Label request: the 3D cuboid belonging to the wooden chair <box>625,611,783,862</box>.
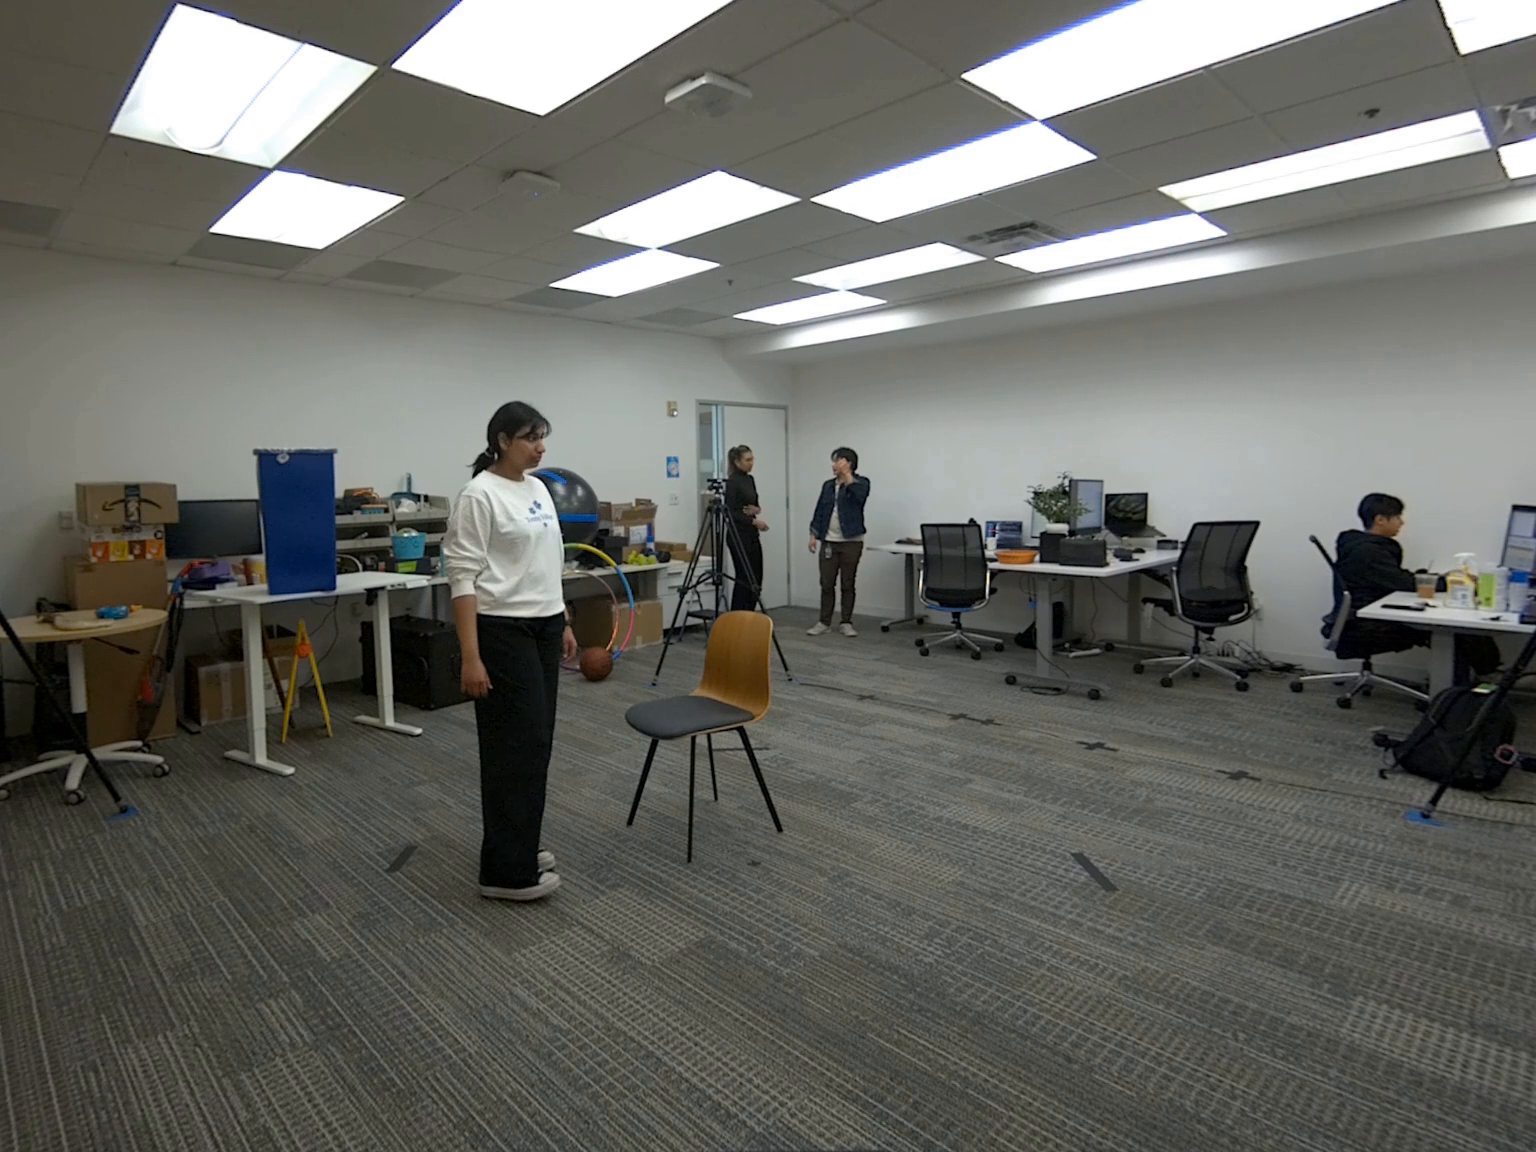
[{"bbox_3d":[-0.266,0.590,3.396,0.508,0.876,0.492,1,2,-39],"label":"wooden chair"}]
